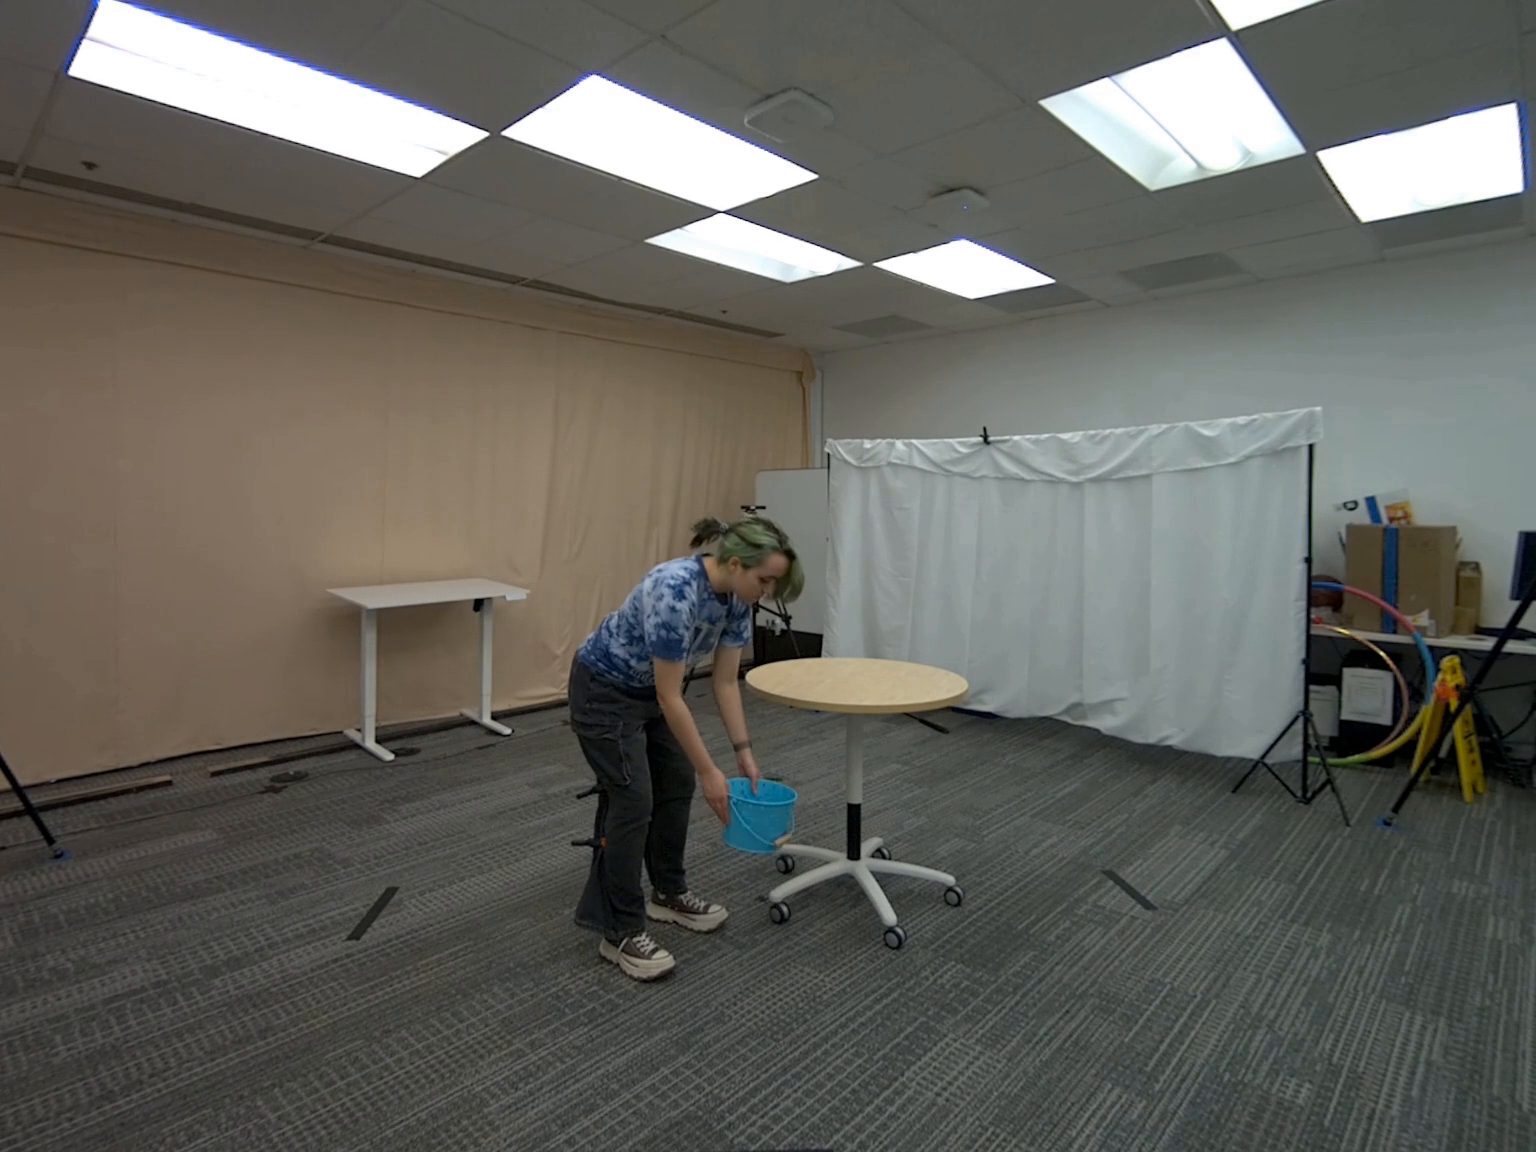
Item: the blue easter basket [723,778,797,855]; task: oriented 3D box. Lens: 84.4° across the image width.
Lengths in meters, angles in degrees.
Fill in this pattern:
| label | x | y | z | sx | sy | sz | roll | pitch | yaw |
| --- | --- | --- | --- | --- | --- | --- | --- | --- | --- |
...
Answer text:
| label | x | y | z | sx | sy | sz | roll | pitch | yaw |
| --- | --- | --- | --- | --- | --- | --- | --- | --- | --- |
| blue easter basket | -0.032 | 0.715 | 2.472 | 0.243 | 0.156 | 0.244 | 5 | 2 | -2 |
